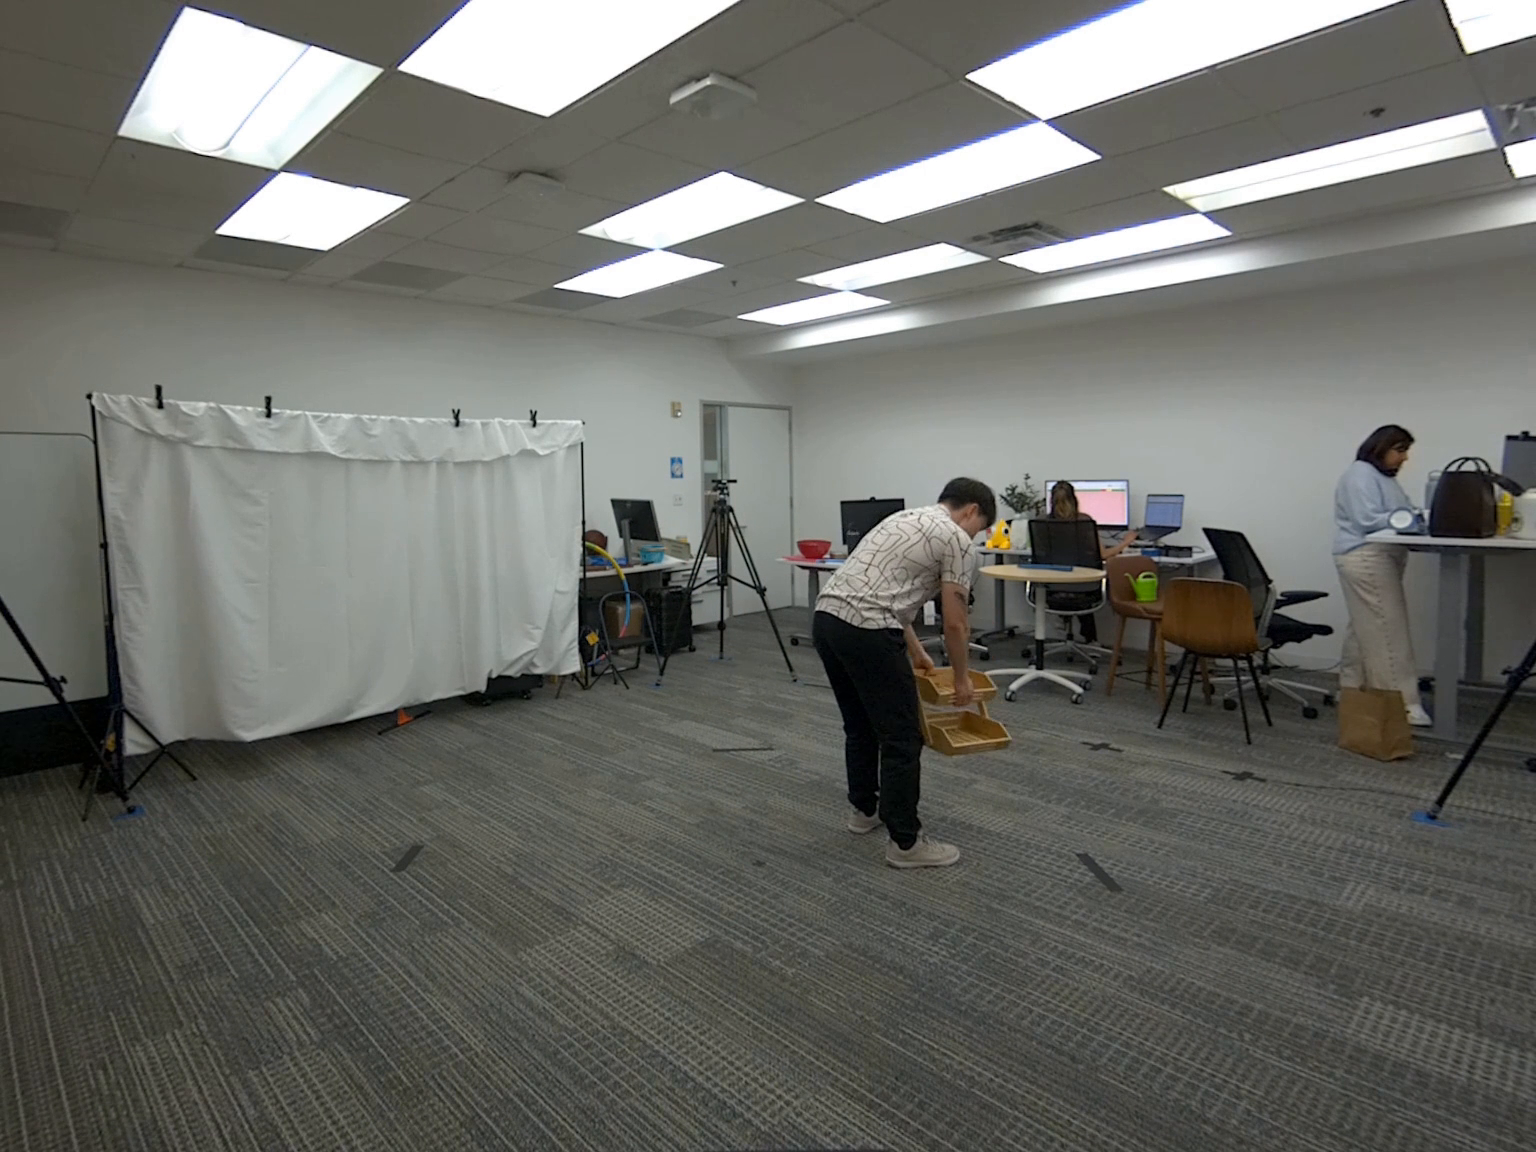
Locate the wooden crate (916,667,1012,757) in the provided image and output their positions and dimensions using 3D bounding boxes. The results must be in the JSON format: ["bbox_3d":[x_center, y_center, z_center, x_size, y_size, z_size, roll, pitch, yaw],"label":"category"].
[{"bbox_3d":[0.742,0.518,3.333,0.316,0.272,0.311,0,6,-30],"label":"wooden crate"}]
